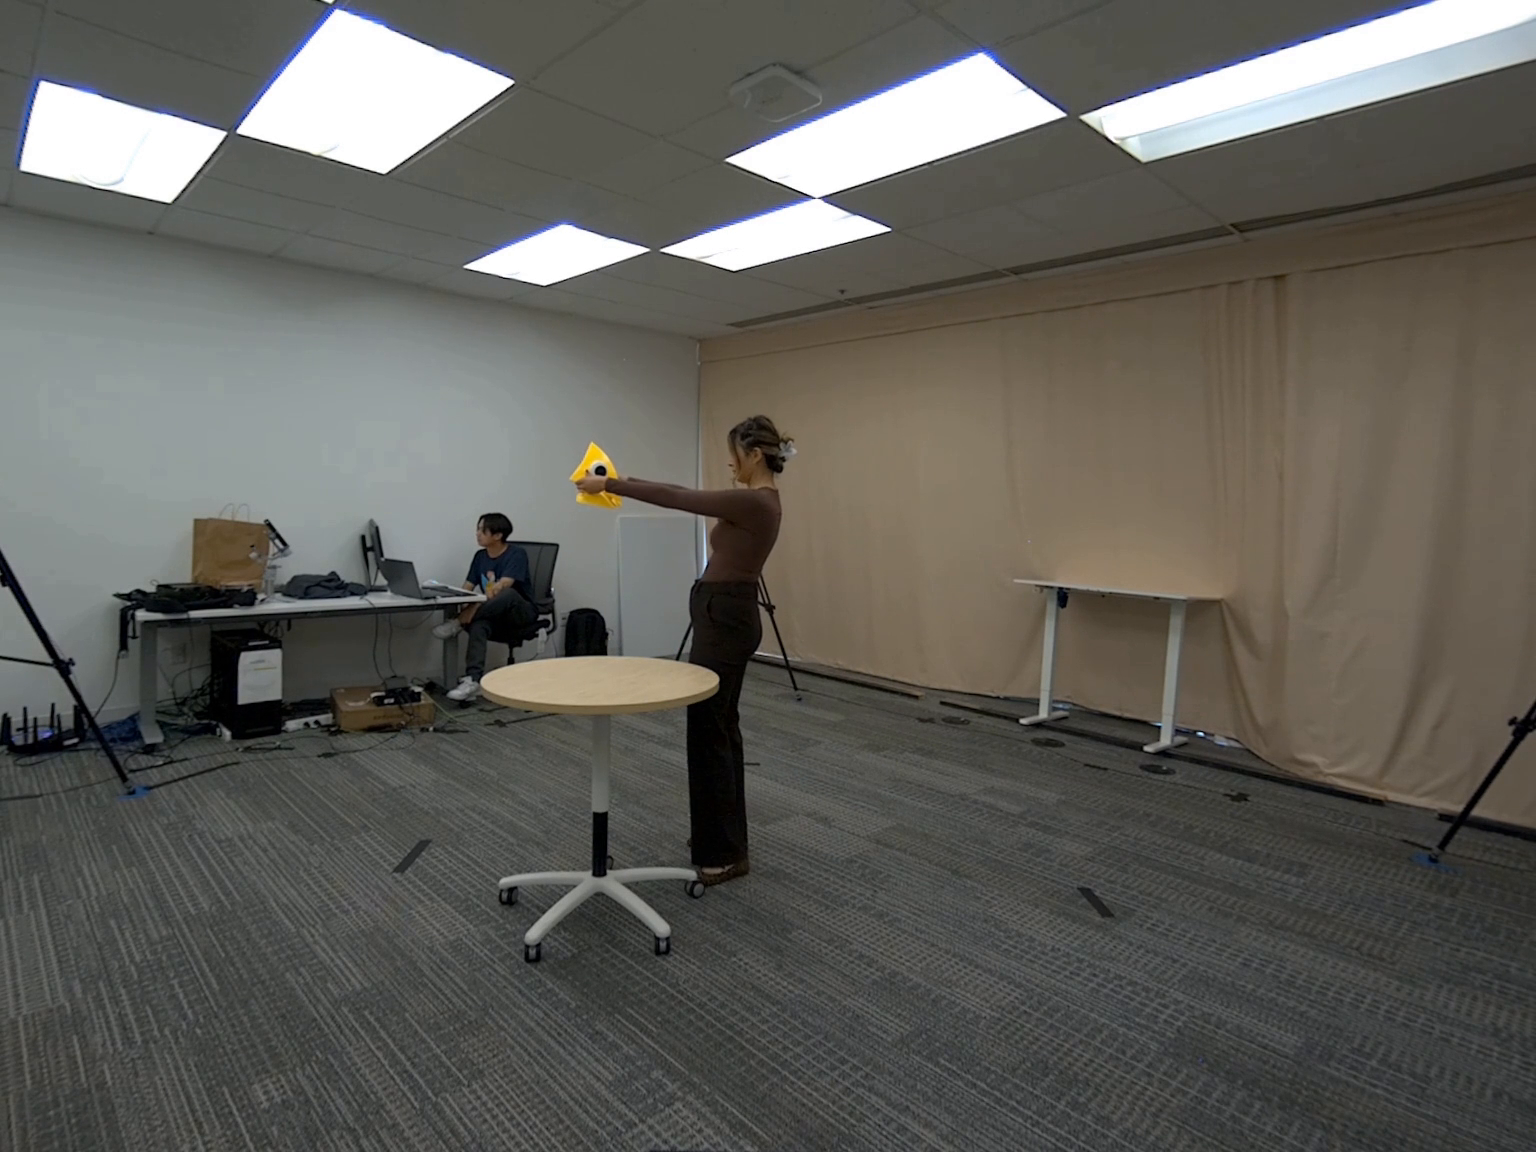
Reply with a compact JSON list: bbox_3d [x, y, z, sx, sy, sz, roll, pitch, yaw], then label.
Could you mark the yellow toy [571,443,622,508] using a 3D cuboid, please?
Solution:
[{"bbox_3d":[-0.657,-0.399,3.290,0.194,0.230,0.205,12,8,4],"label":"yellow toy"}]
